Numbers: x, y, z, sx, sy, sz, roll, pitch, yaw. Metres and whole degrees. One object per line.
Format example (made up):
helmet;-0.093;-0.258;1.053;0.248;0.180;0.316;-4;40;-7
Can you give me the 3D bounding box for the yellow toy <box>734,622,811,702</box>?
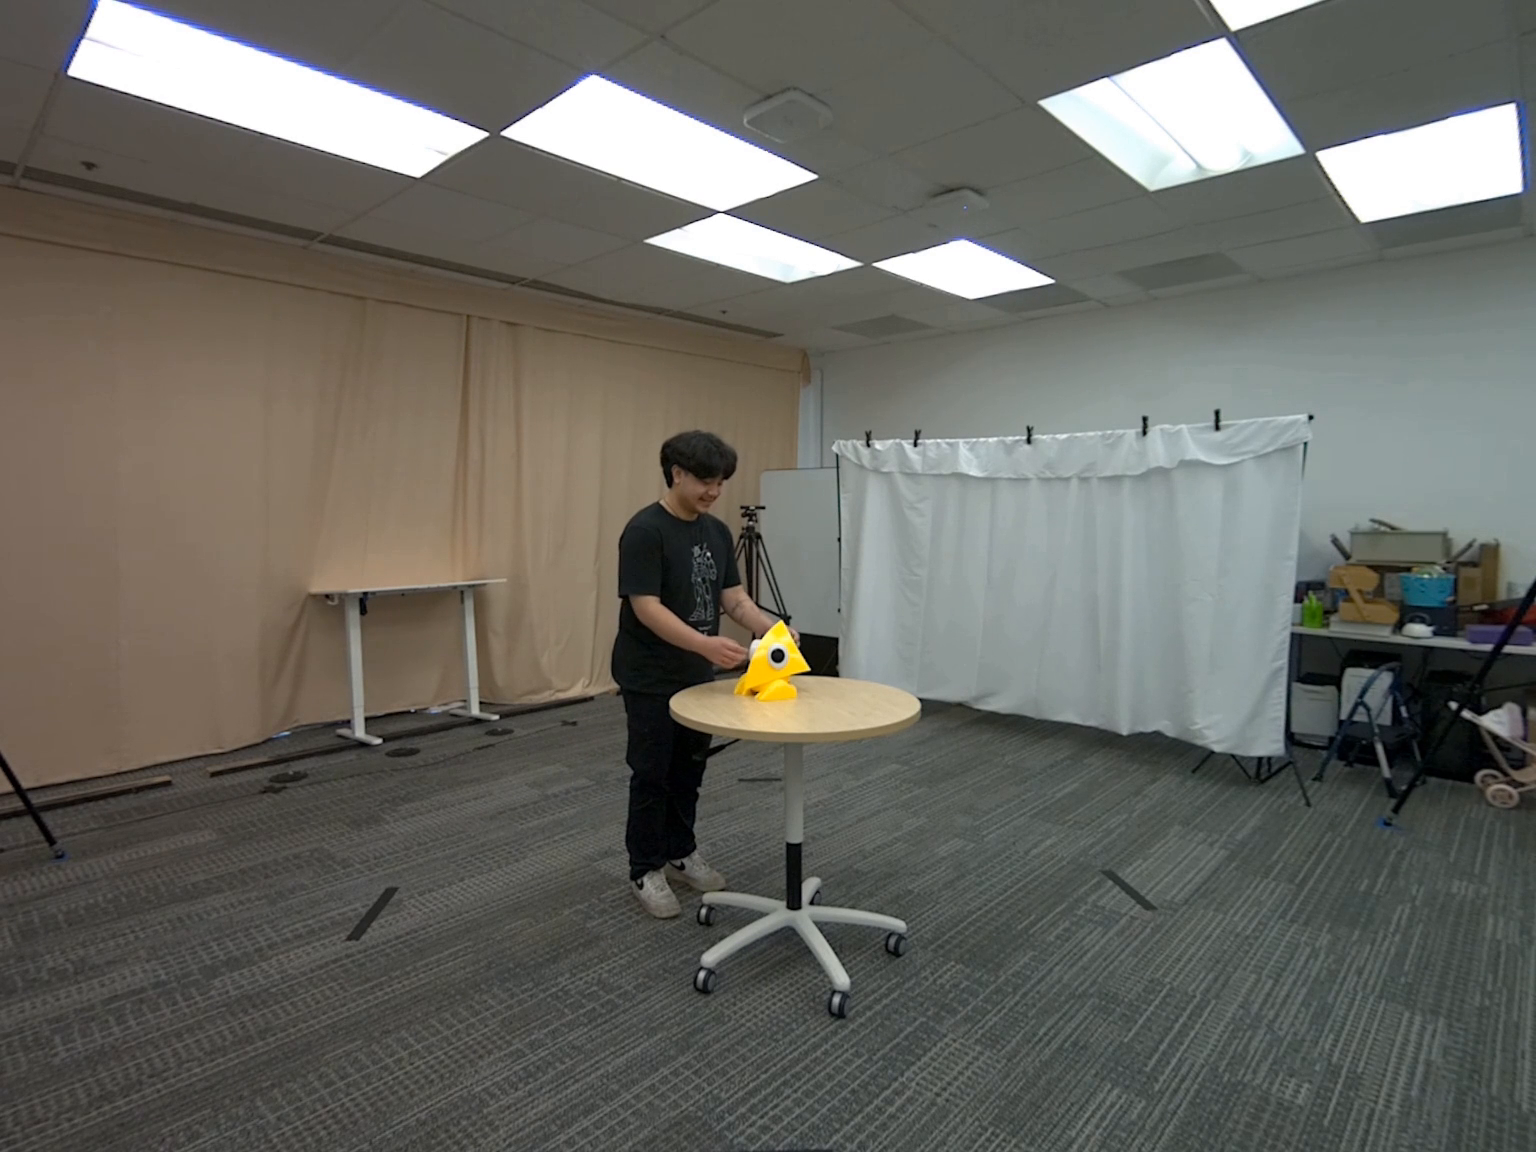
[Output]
yellow toy;0.006;0.266;2.689;0.187;0.230;0.211;-4;5;-39
